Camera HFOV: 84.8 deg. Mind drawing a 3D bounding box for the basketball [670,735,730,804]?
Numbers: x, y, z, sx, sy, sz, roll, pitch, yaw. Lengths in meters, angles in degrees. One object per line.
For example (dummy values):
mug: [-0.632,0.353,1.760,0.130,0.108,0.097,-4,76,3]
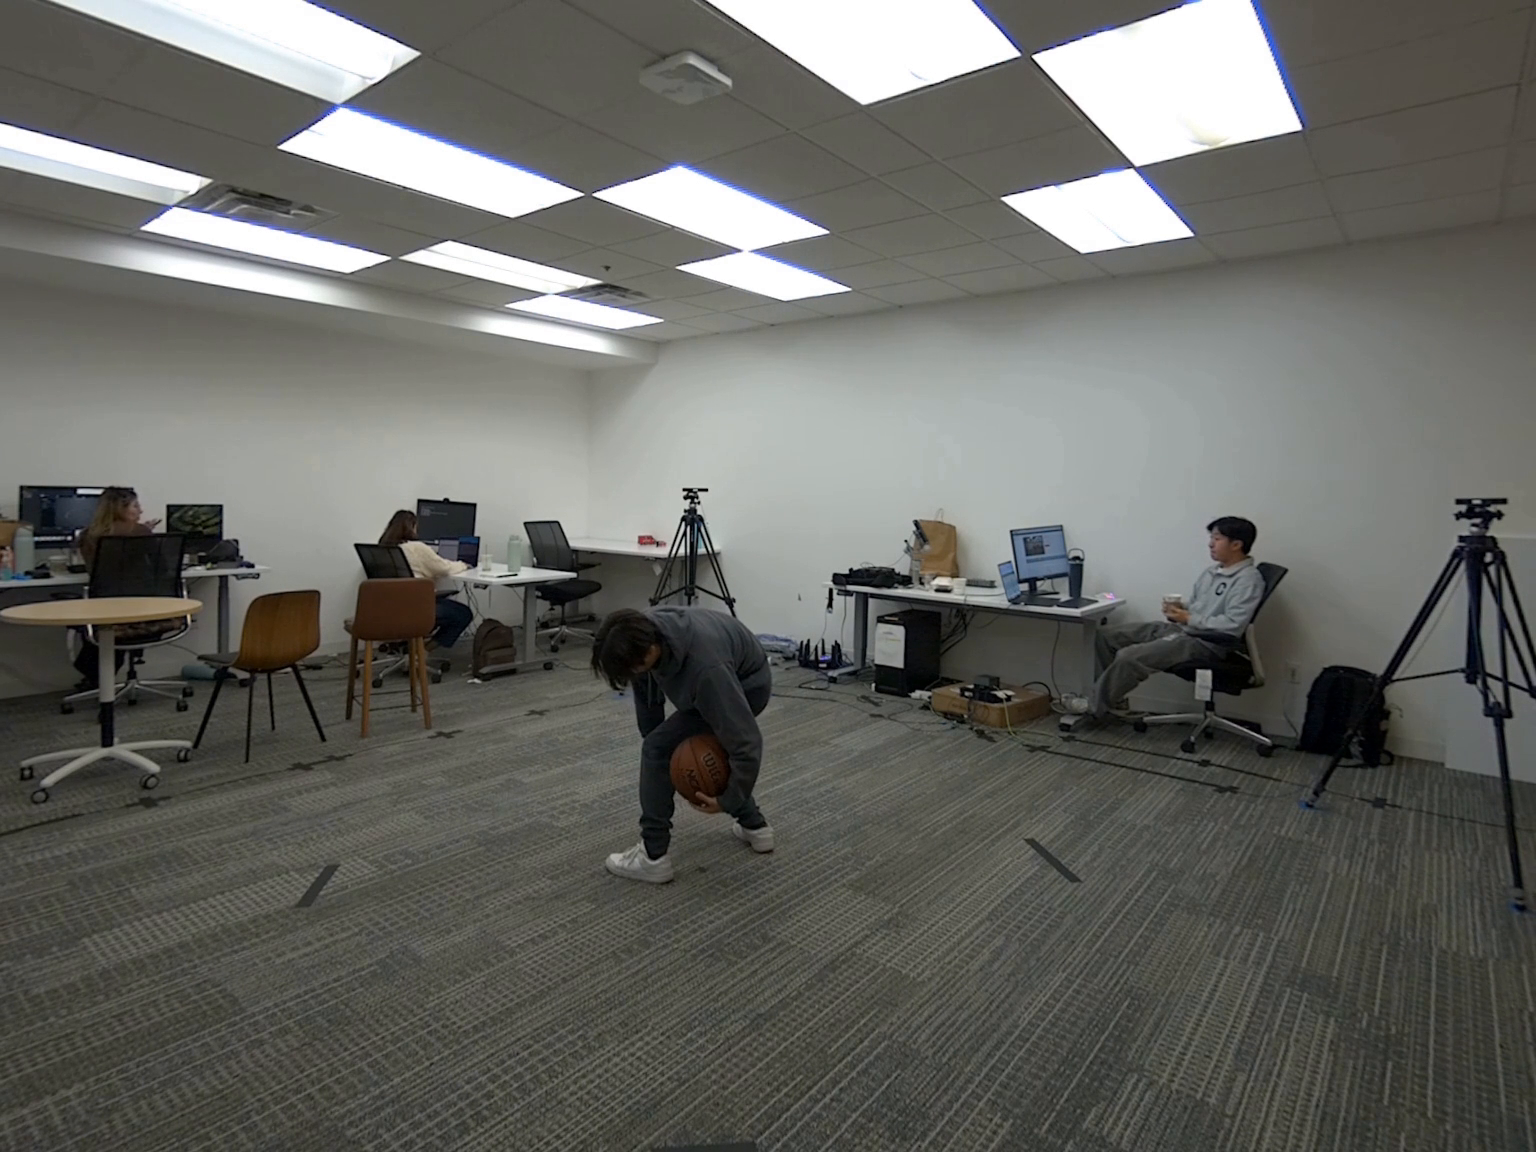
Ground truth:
basketball: [-0.235,0.672,2.988,0.235,0.235,0.237,1,4,-2]
